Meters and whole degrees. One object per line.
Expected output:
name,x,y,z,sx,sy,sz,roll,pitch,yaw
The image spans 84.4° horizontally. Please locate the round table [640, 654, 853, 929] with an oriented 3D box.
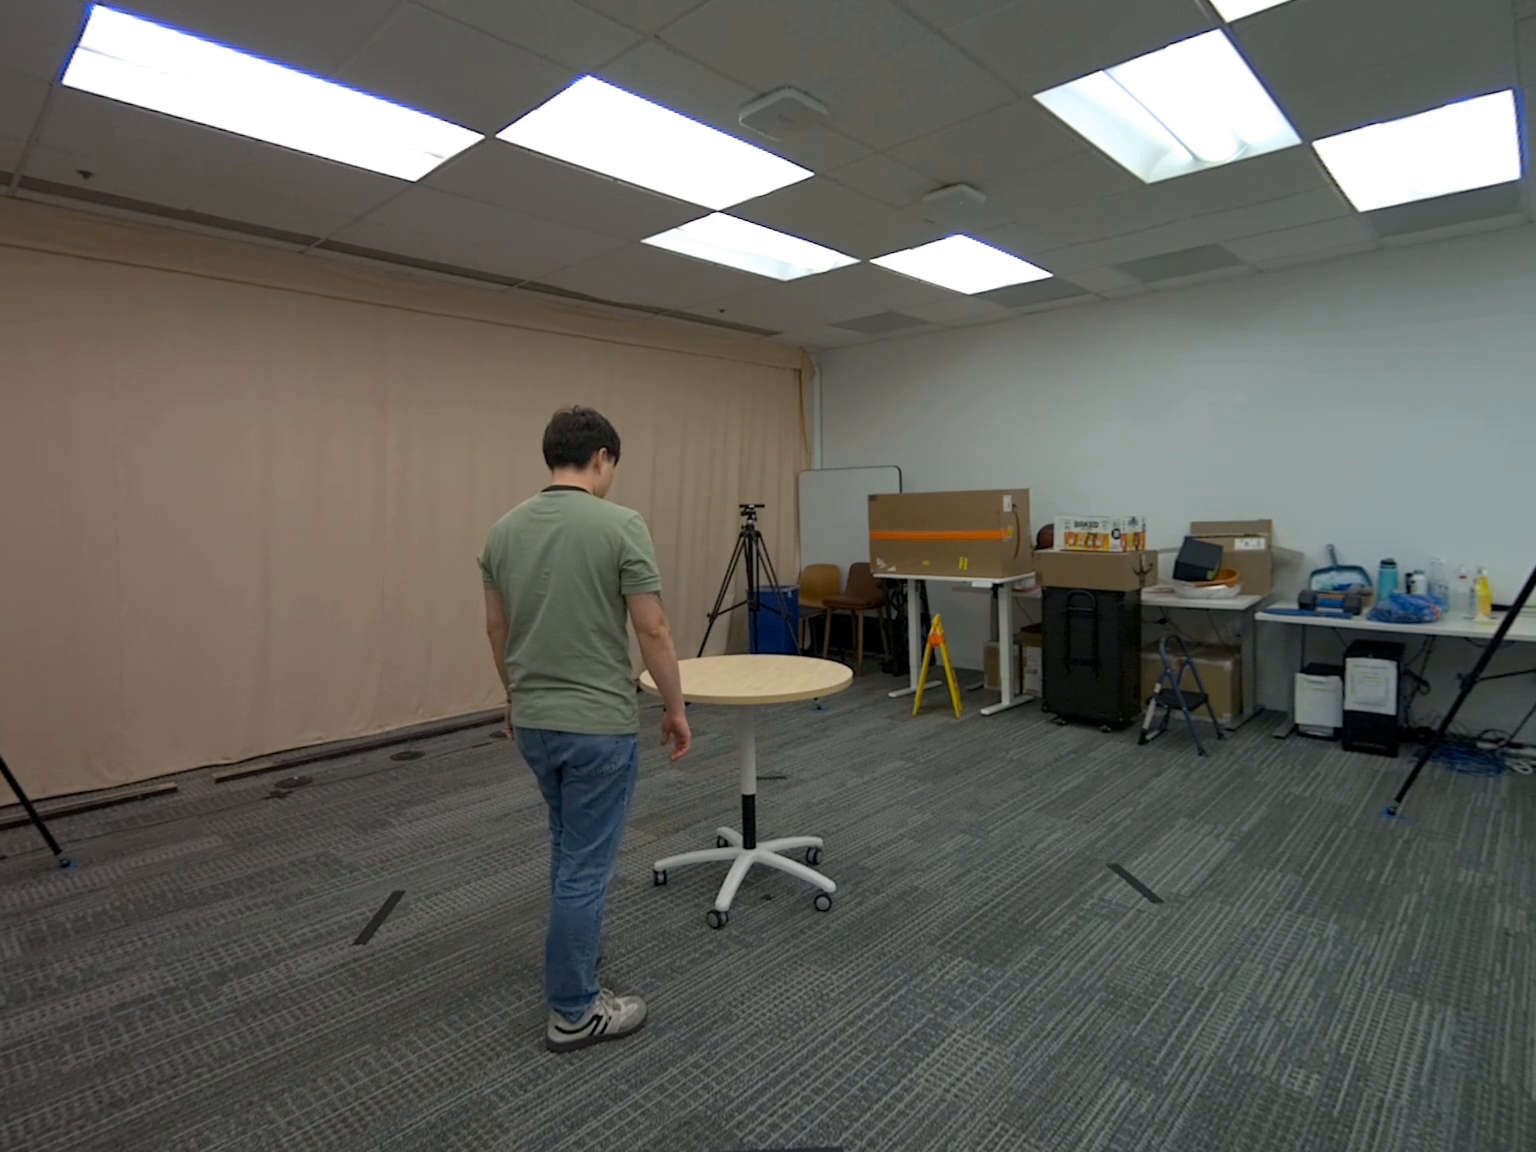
round table,-0.064,0.746,3.064,0.763,0.792,0.767,-1,4,-2
